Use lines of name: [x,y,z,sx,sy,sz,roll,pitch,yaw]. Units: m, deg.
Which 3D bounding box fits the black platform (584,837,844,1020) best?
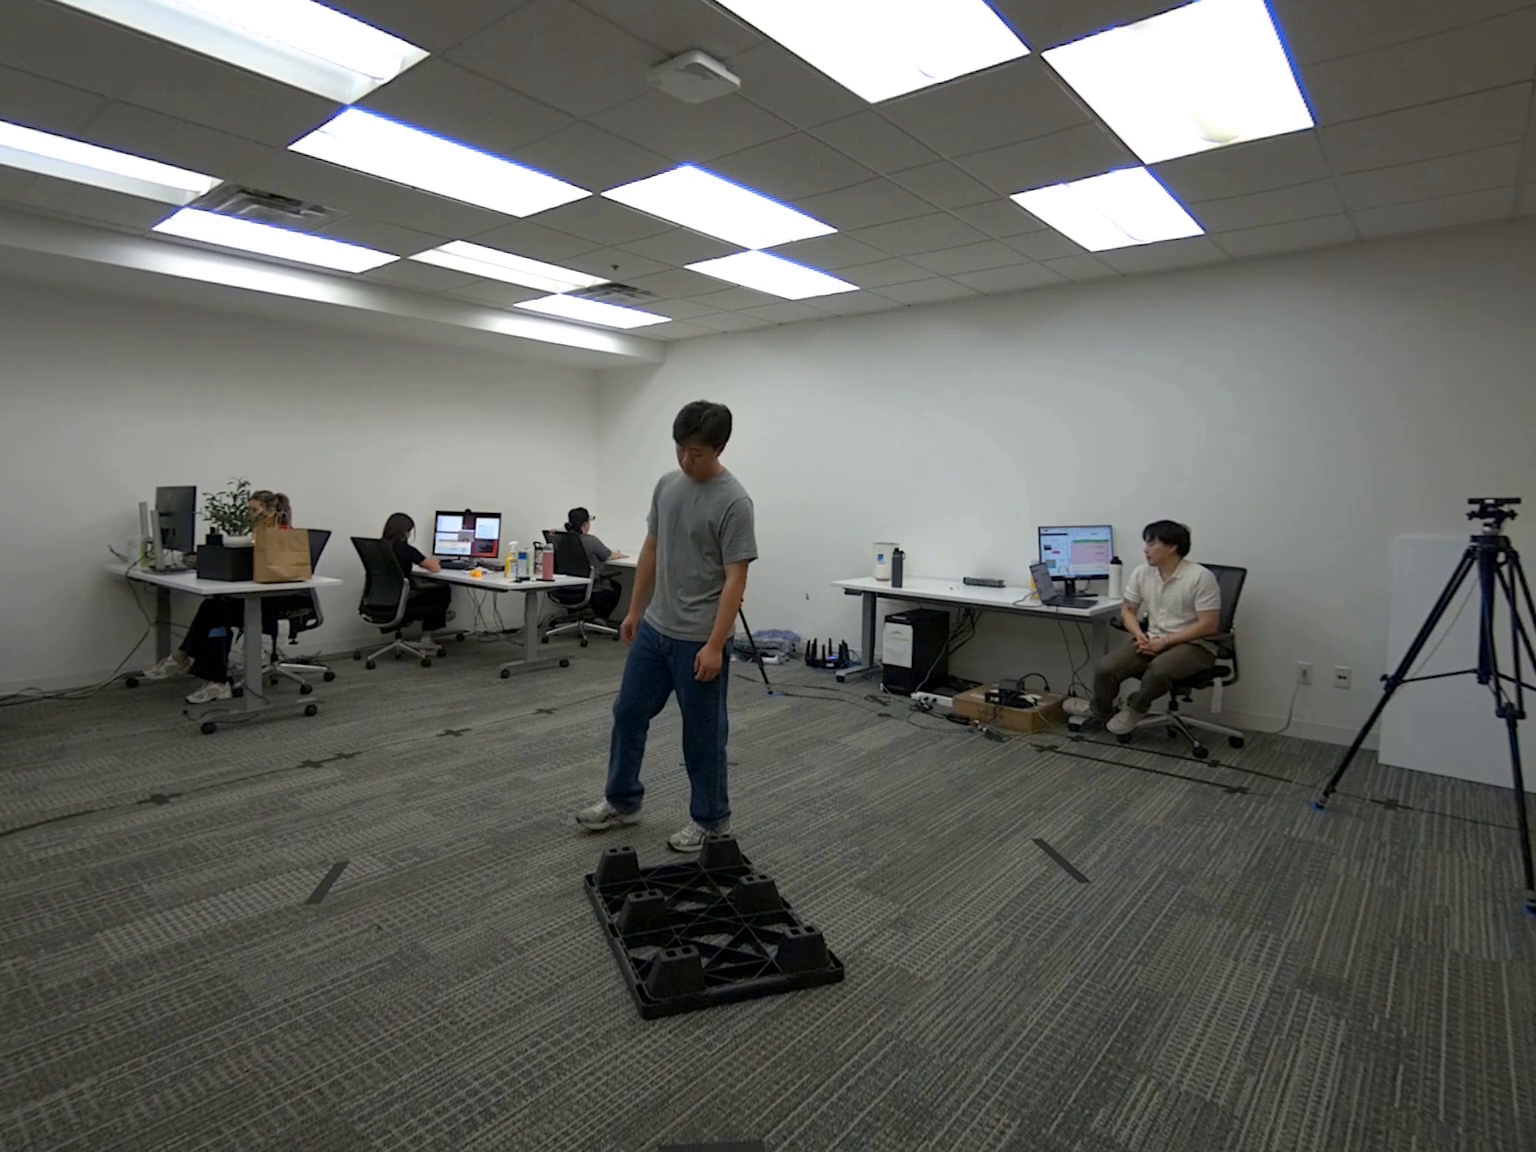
black platform: [-0.211,1.039,2.679,0.592,0.143,0.827,-2,7,-23]
